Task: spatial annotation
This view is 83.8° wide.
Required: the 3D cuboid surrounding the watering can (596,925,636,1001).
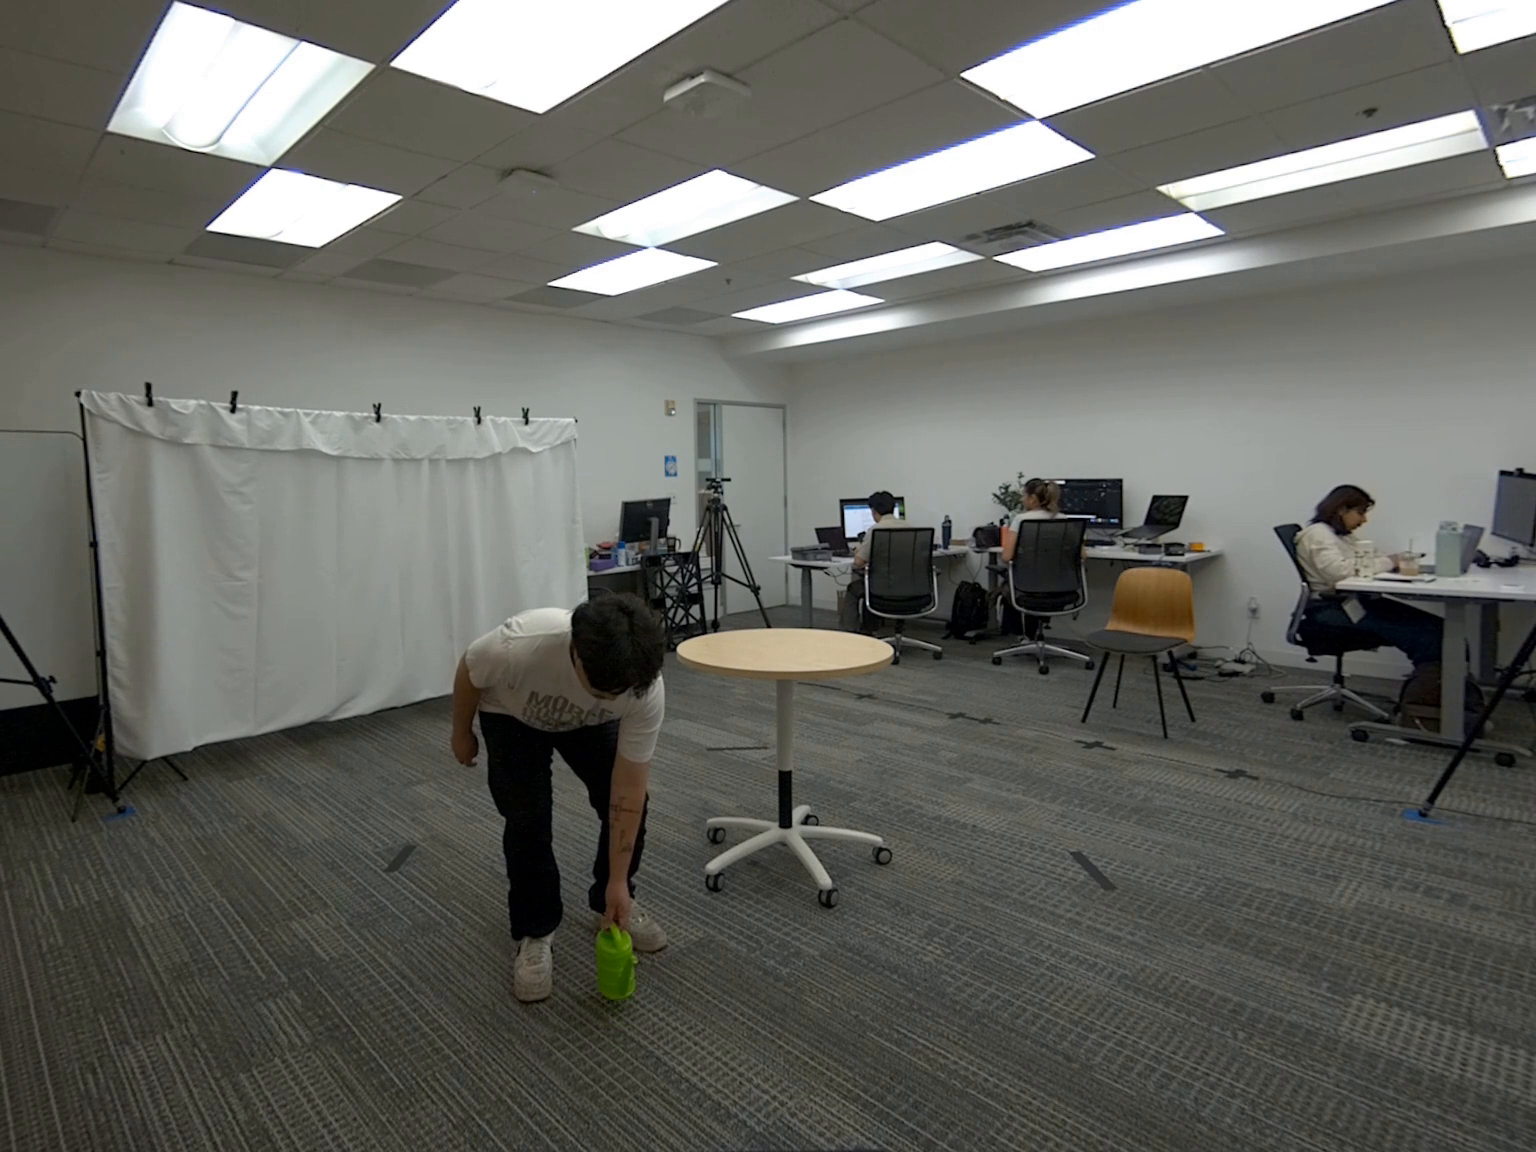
[{"bbox_3d":[-0.384,1.020,2.224,0.097,0.177,0.280,-2,1,-7],"label":"watering can"}]
